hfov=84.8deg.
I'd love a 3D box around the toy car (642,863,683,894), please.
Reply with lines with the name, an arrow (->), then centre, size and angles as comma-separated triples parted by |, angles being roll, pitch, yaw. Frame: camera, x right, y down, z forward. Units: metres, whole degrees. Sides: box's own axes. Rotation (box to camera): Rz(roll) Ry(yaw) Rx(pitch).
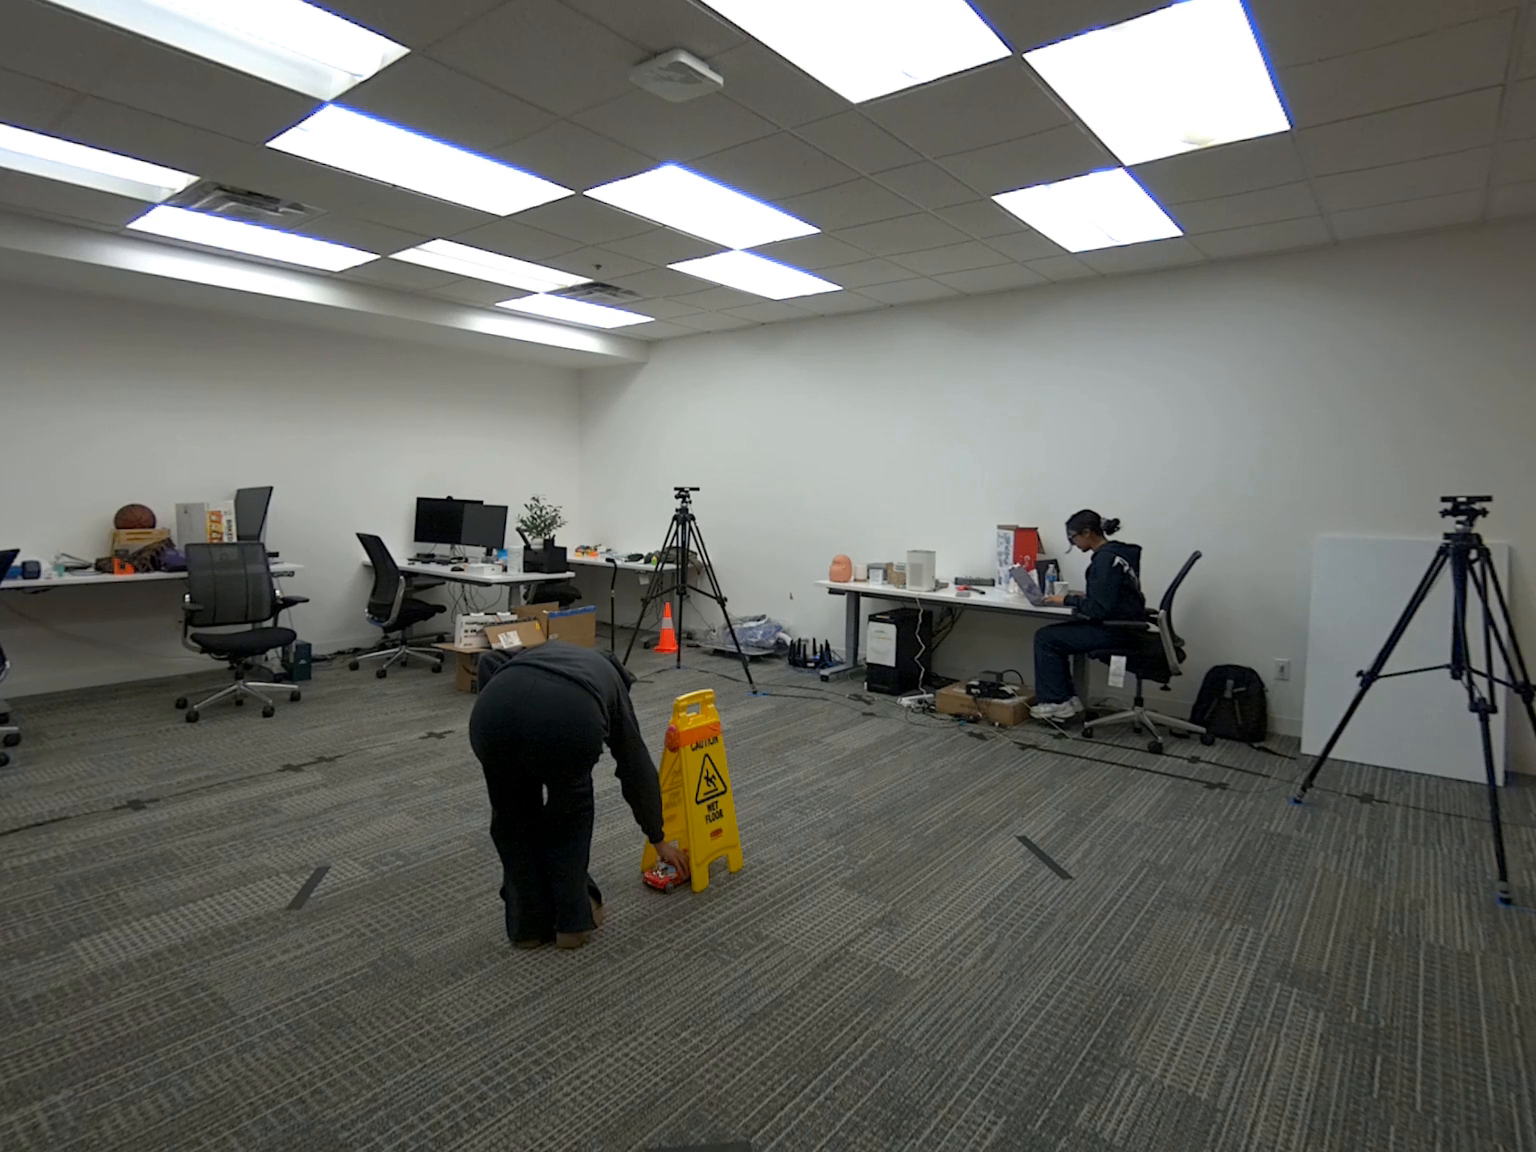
toy car -> -0.342, 1.044, 3.014 | 0.134, 0.082, 0.249 | 4, 16, 36
